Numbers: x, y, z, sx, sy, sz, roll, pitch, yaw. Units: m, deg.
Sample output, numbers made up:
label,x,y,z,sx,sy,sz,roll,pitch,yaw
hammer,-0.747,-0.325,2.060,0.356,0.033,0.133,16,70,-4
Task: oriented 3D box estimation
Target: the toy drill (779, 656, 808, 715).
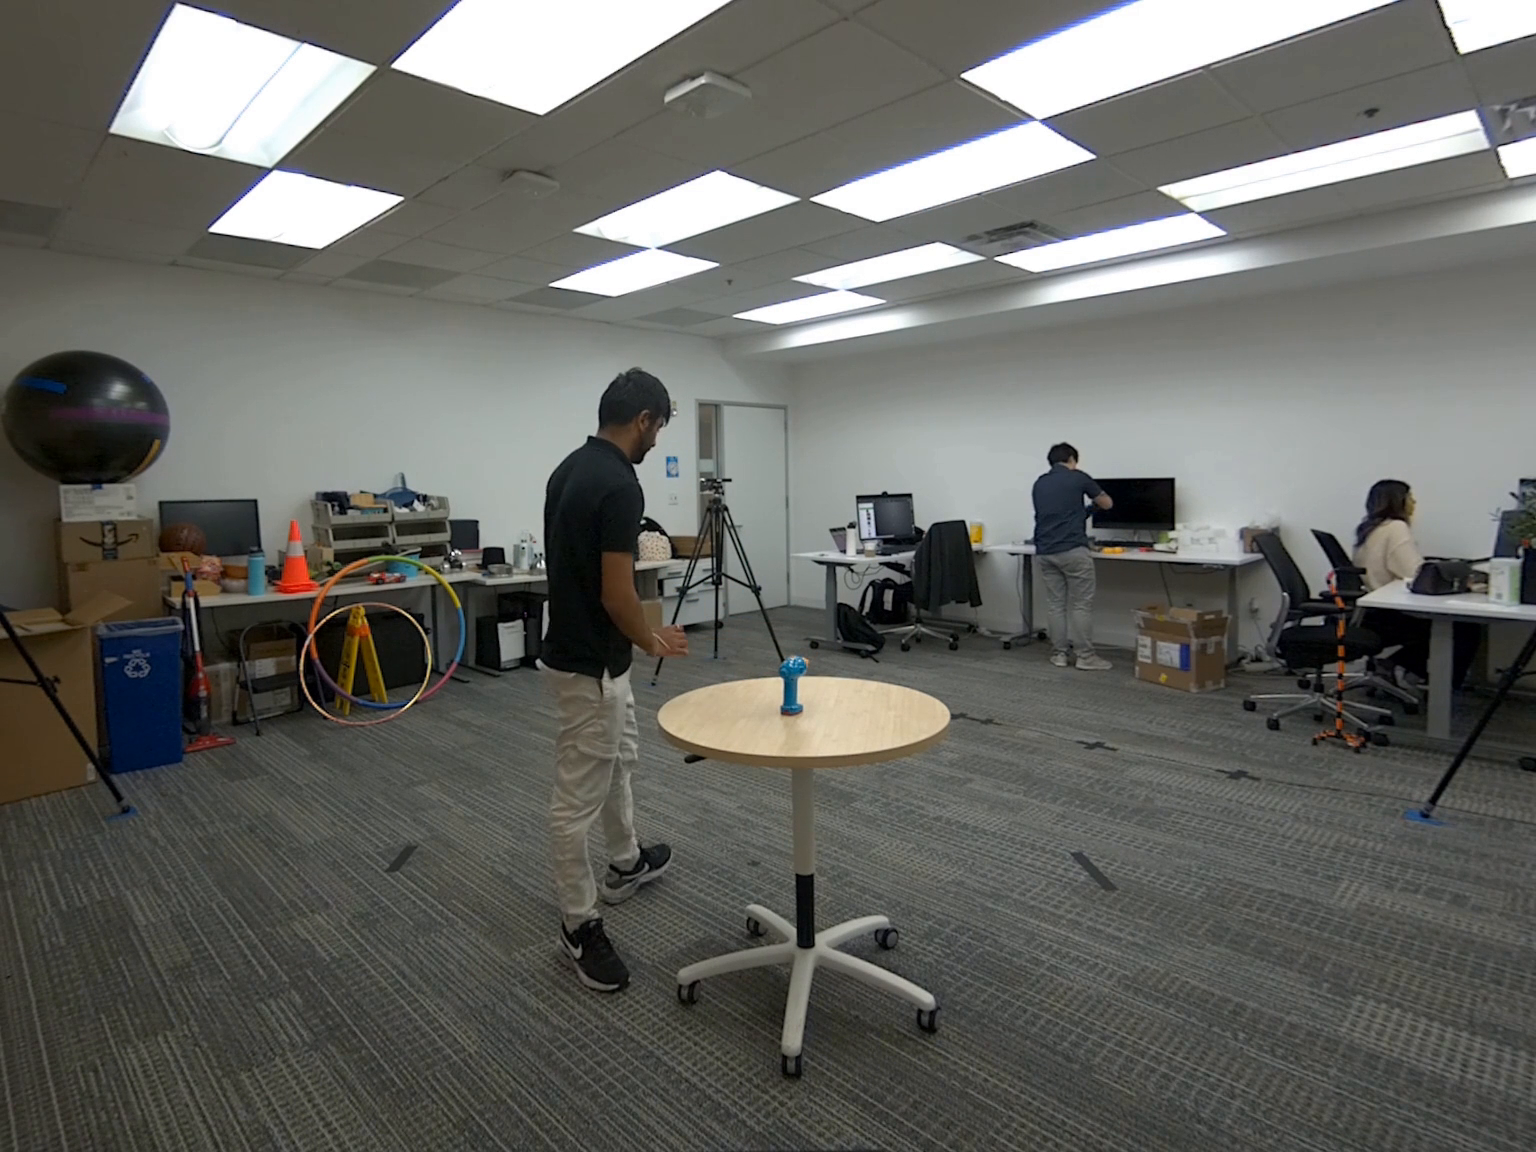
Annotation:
label,x,y,z,sx,sy,sz,roll,pitch,yaw
toy drill,0.074,0.280,2.281,0.062,0.145,0.167,0,5,22
